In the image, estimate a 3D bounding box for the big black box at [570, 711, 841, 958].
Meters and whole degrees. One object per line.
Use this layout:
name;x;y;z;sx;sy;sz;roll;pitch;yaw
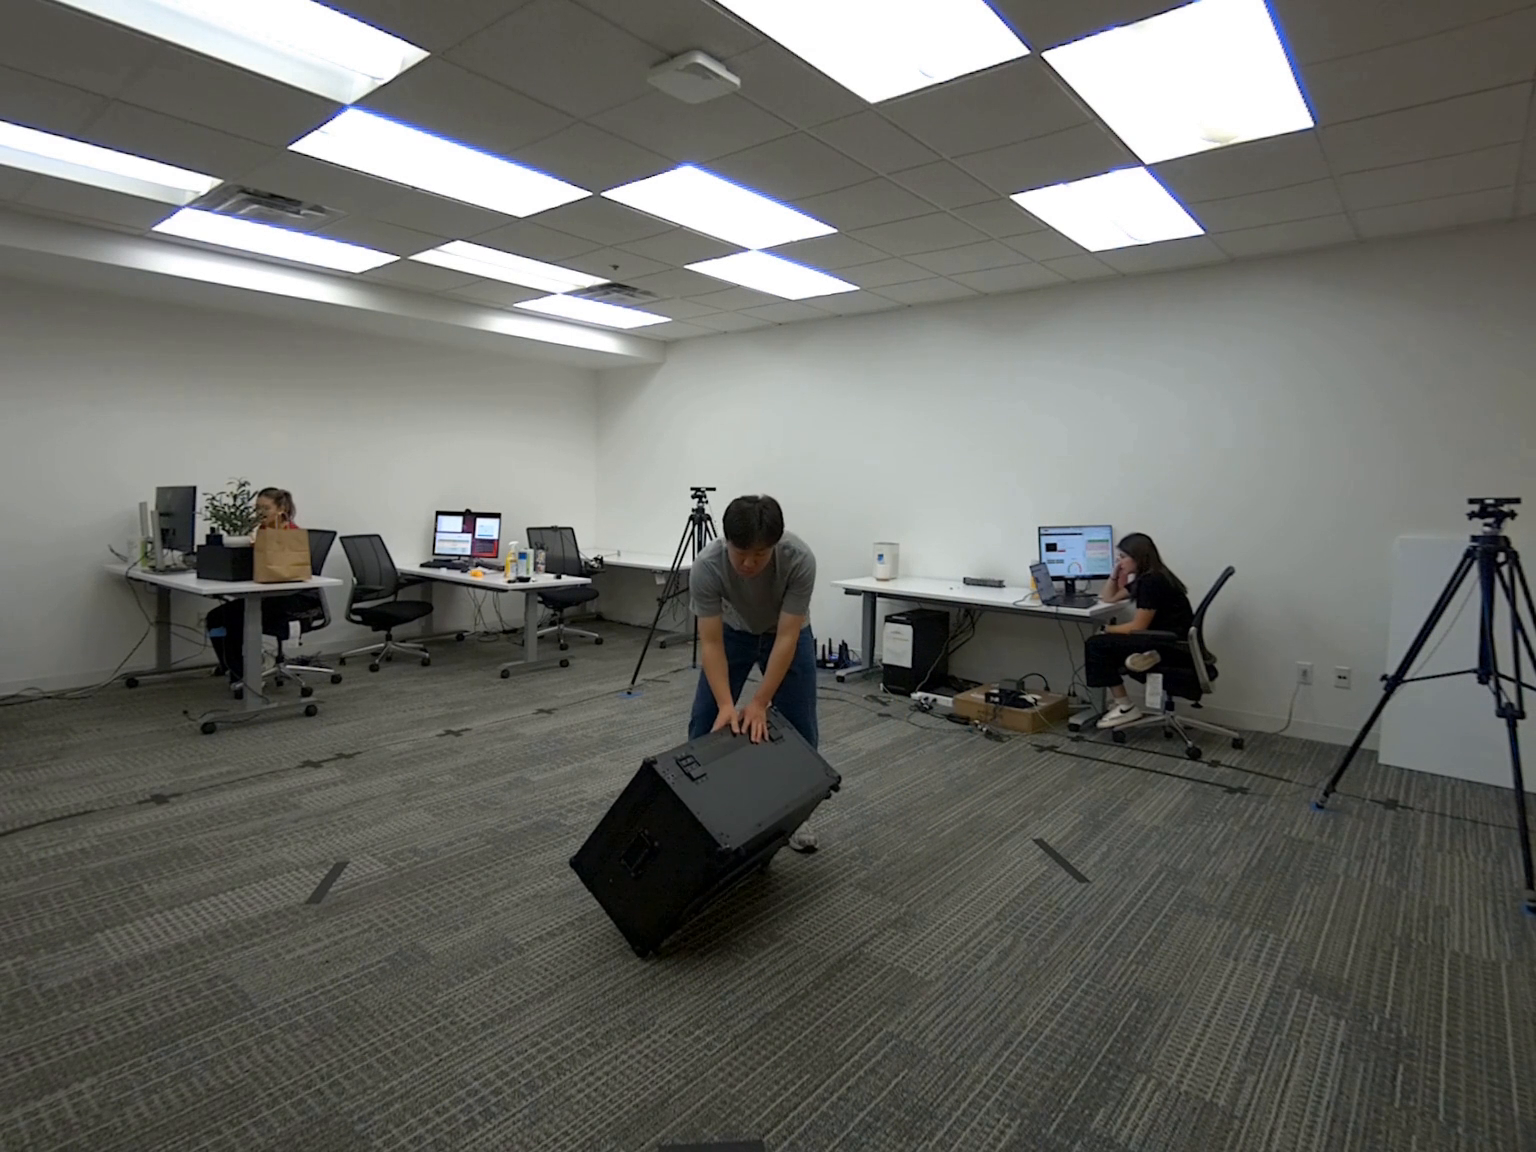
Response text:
big black box;-0.161;0.801;2.816;0.408;0.519;0.840;43;22;20
